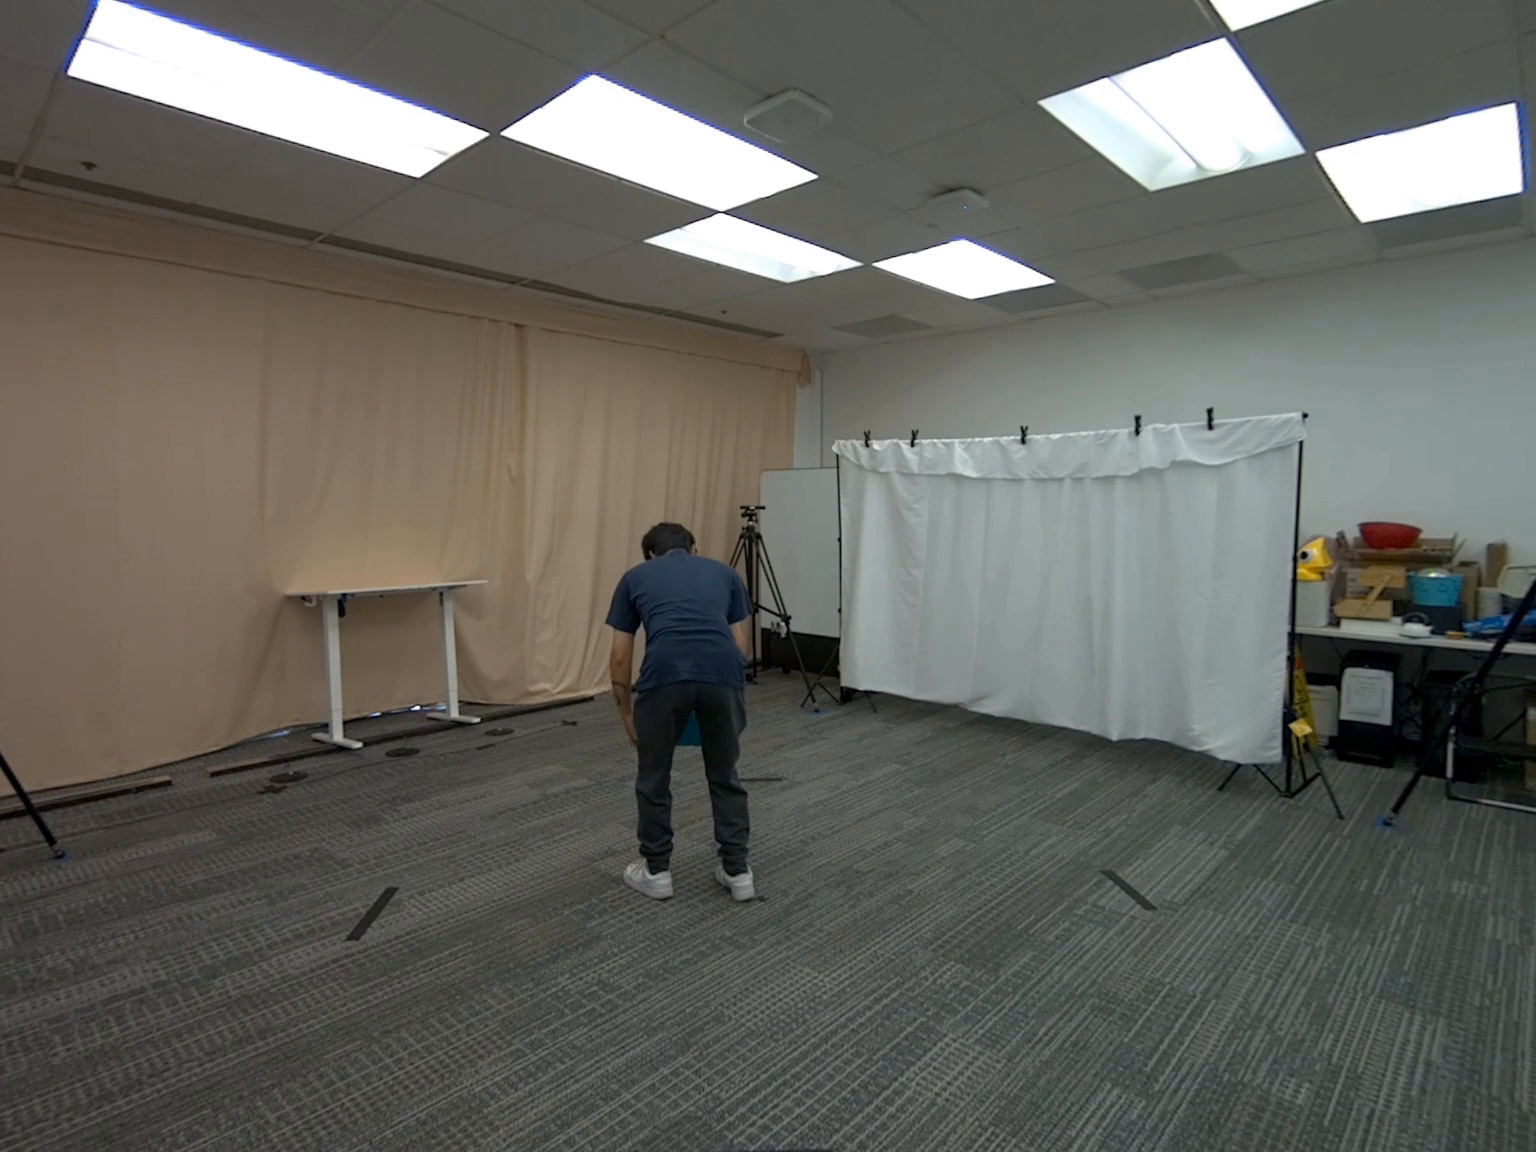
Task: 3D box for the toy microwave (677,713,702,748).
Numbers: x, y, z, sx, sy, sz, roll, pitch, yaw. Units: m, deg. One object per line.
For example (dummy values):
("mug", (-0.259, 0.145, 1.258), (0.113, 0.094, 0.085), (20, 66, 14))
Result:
("toy microwave", (-0.374, 0.564, 3.299), (0.285, 0.183, 0.154), (-1, 9, -5))
